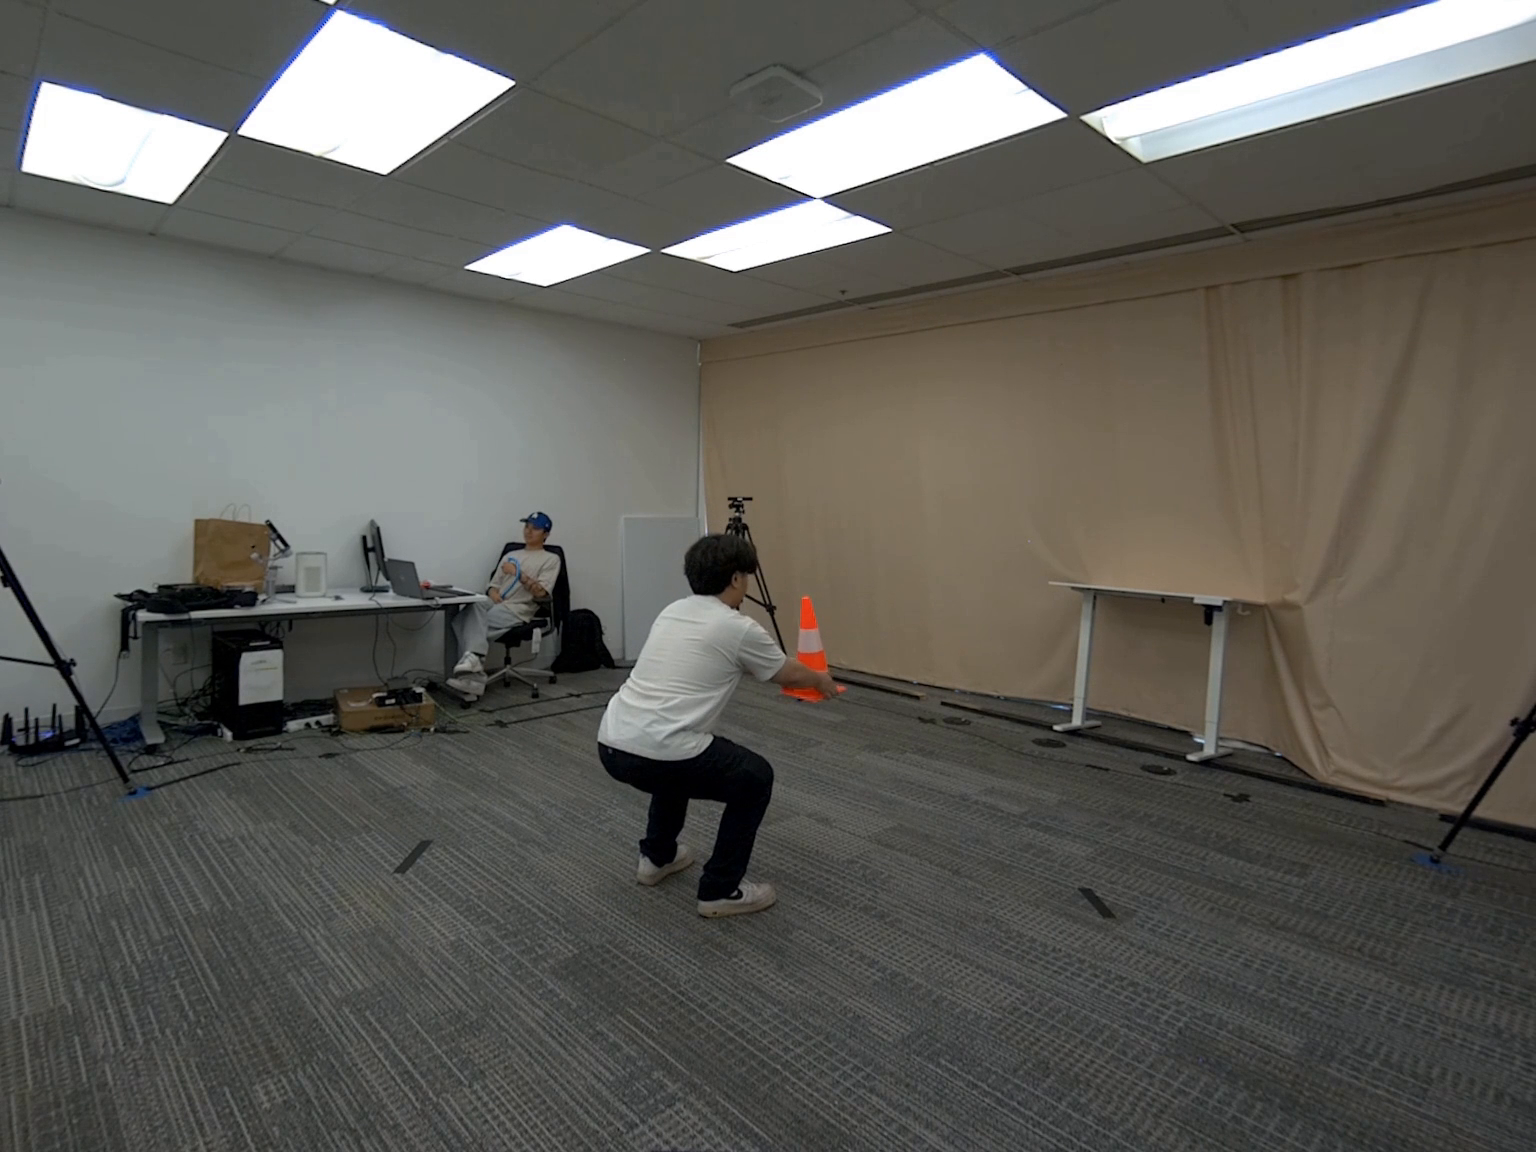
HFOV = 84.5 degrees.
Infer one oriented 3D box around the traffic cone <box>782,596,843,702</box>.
[{"bbox_3d":[0.154,0.273,3.353,0.210,0.382,0.199,1,7,36],"label":"traffic cone"}]
